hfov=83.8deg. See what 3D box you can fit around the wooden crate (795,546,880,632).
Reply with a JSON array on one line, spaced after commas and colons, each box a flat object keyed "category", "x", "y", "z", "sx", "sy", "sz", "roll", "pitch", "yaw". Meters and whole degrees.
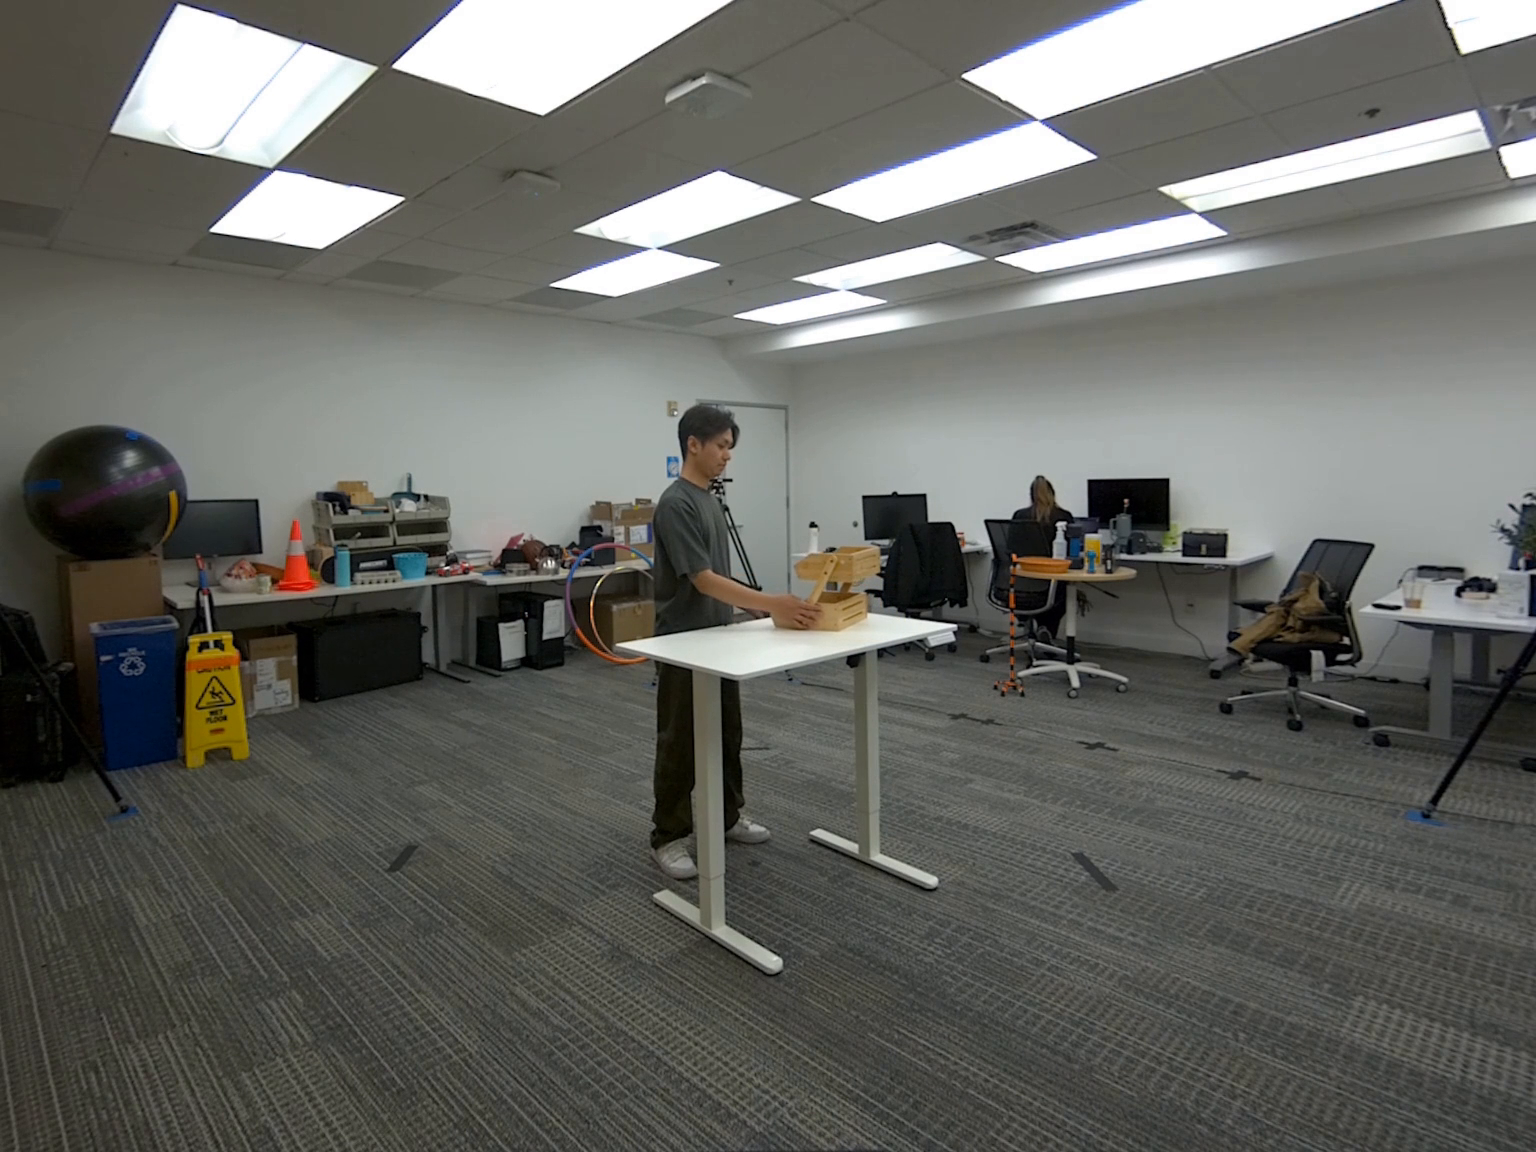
[{"category": "wooden crate", "x": 0.202, "y": 0.033, "z": 3.014, "sx": 0.309, "sy": 0.272, "sz": 0.318, "roll": 2, "pitch": 6, "yaw": 26}]
